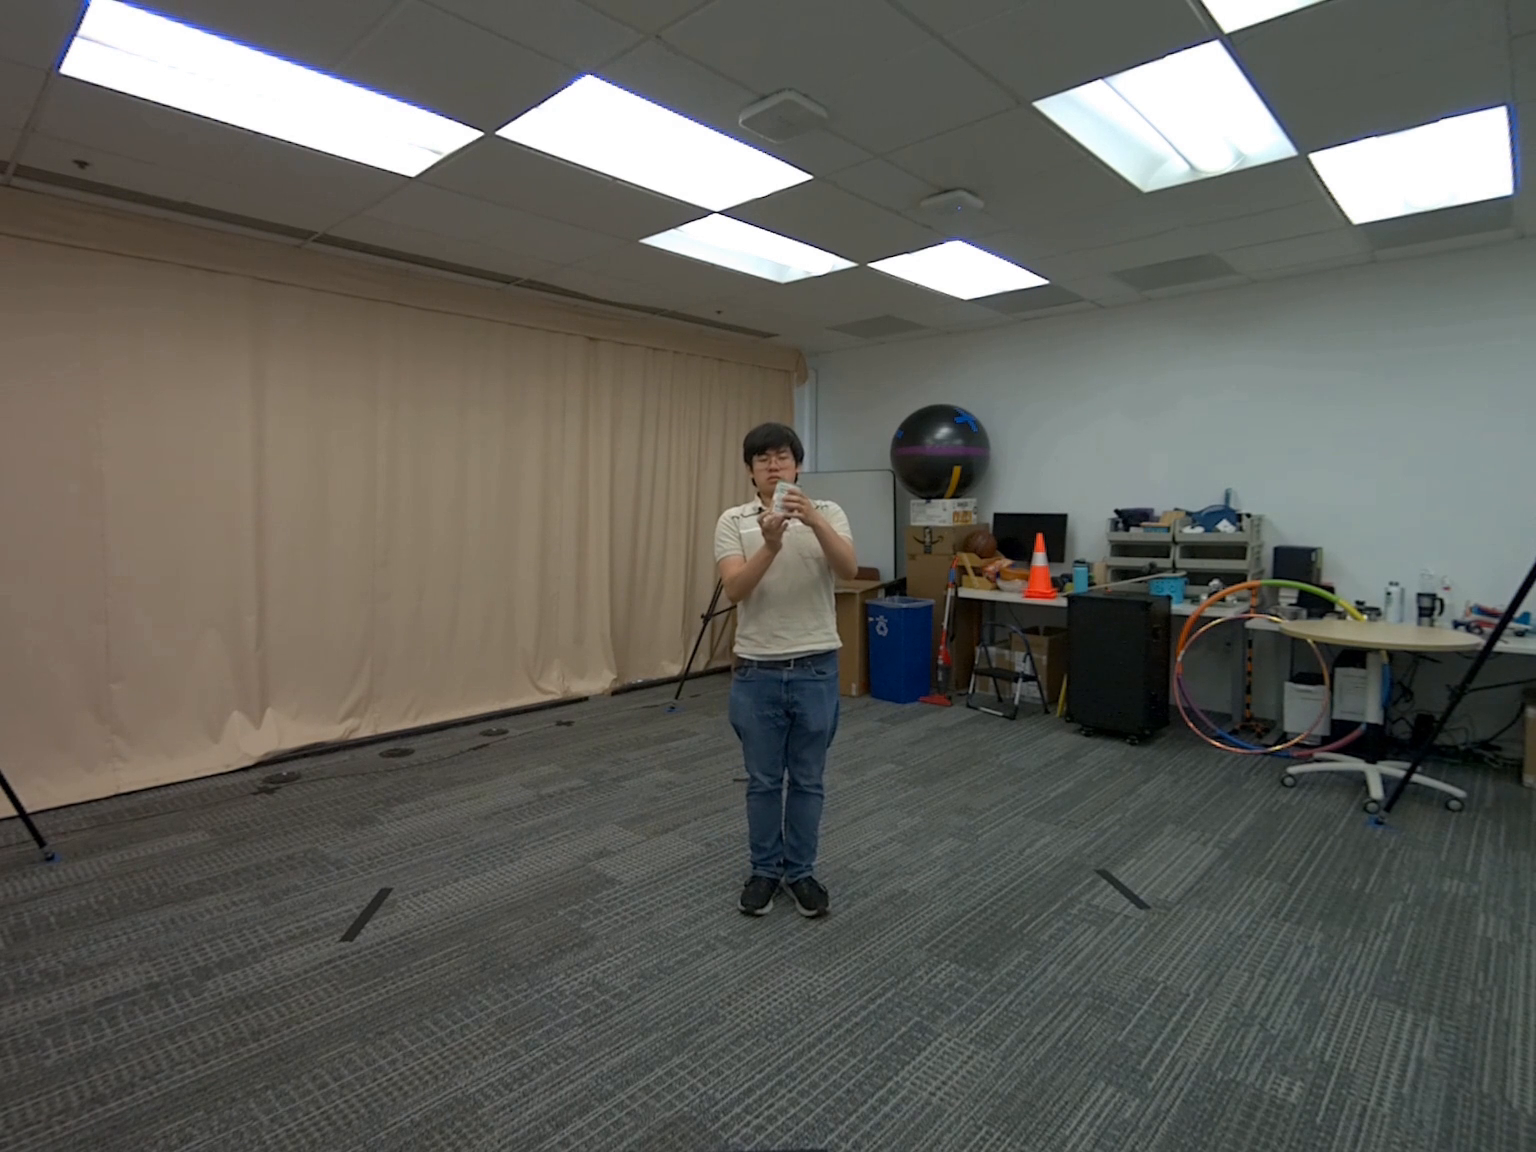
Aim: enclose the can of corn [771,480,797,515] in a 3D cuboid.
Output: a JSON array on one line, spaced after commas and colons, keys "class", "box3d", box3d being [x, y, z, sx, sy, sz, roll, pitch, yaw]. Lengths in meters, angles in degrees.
[{"class": "can of corn", "box3d": [0.047, -0.235, 2.599, 0.074, 0.111, 0.074, 16, 6, -4]}]
